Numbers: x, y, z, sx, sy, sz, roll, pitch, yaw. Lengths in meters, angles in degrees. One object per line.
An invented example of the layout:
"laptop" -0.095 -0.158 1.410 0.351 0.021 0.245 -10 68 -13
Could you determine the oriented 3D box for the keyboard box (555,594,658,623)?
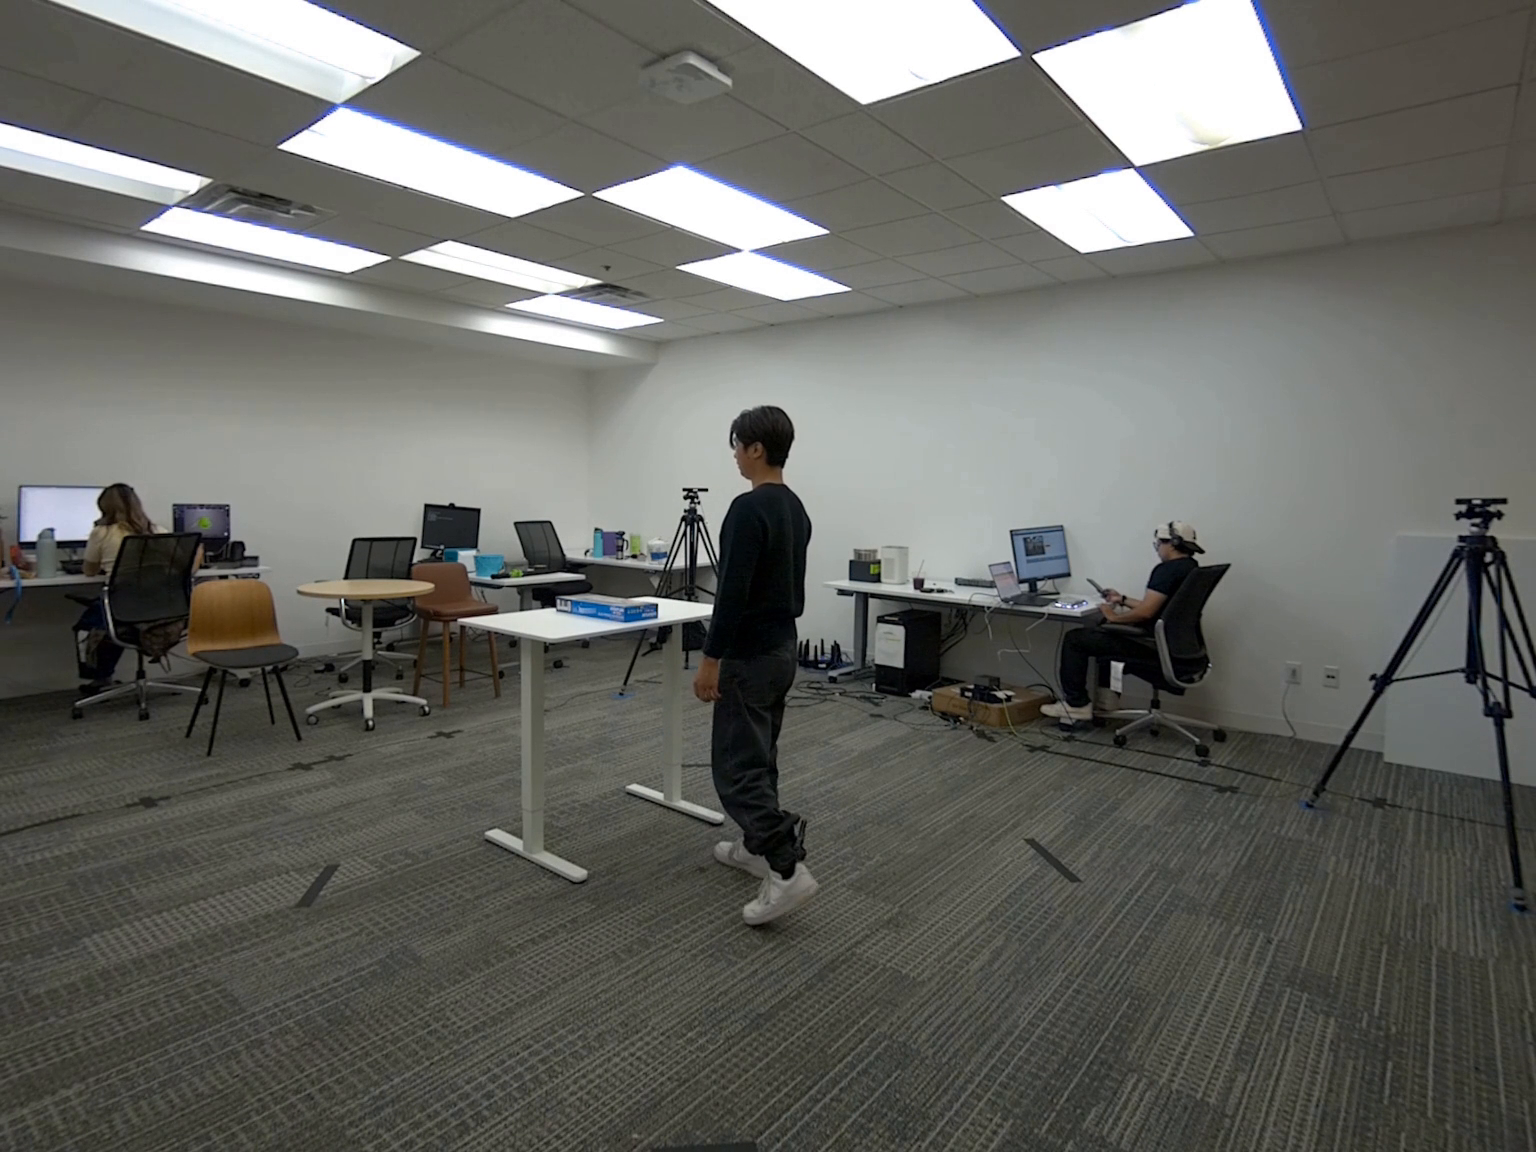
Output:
"keyboard box" -0.665 0.122 3.397 0.452 0.059 0.171 6 7 42
